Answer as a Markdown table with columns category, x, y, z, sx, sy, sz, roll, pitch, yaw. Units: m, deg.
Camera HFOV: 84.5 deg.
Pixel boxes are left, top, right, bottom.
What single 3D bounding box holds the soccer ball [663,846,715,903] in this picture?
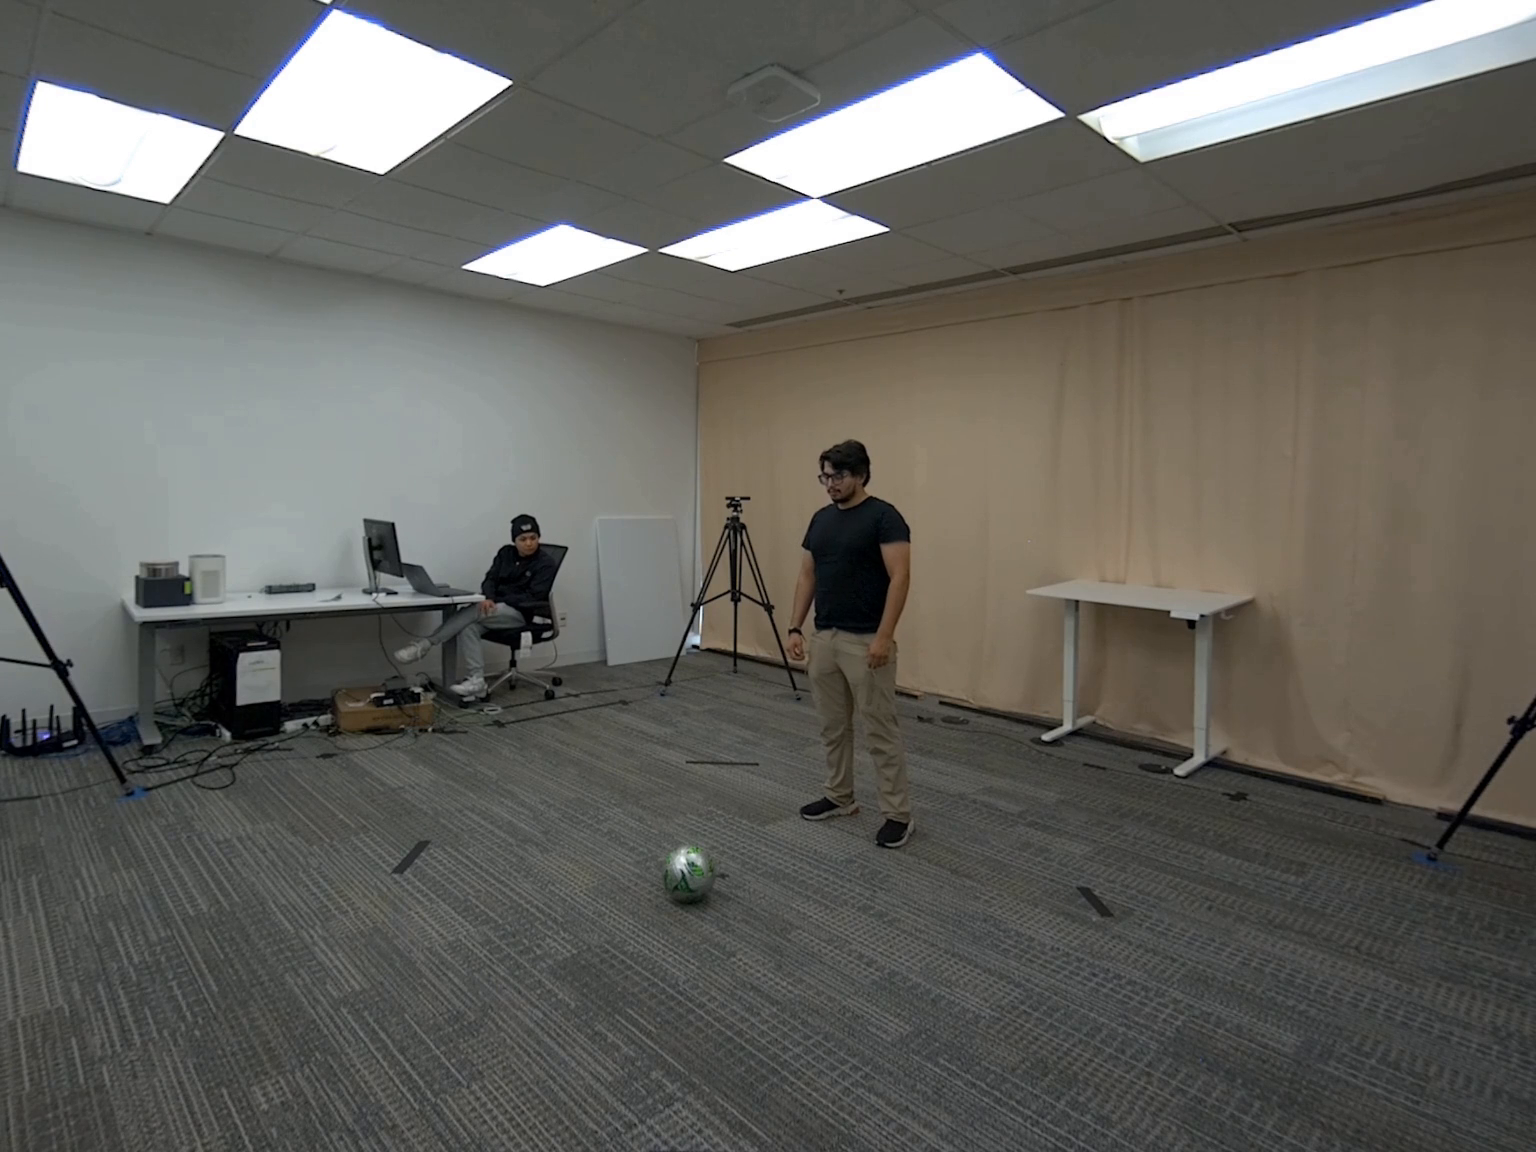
| category | x | y | z | sx | sy | sz | roll | pitch | yaw |
| --- | --- | --- | --- | --- | --- | --- | --- | --- | --- |
| soccer ball | -0.282 | 1.031 | 2.909 | 0.187 | 0.187 | 0.188 | 1 | 4 | -1 |
